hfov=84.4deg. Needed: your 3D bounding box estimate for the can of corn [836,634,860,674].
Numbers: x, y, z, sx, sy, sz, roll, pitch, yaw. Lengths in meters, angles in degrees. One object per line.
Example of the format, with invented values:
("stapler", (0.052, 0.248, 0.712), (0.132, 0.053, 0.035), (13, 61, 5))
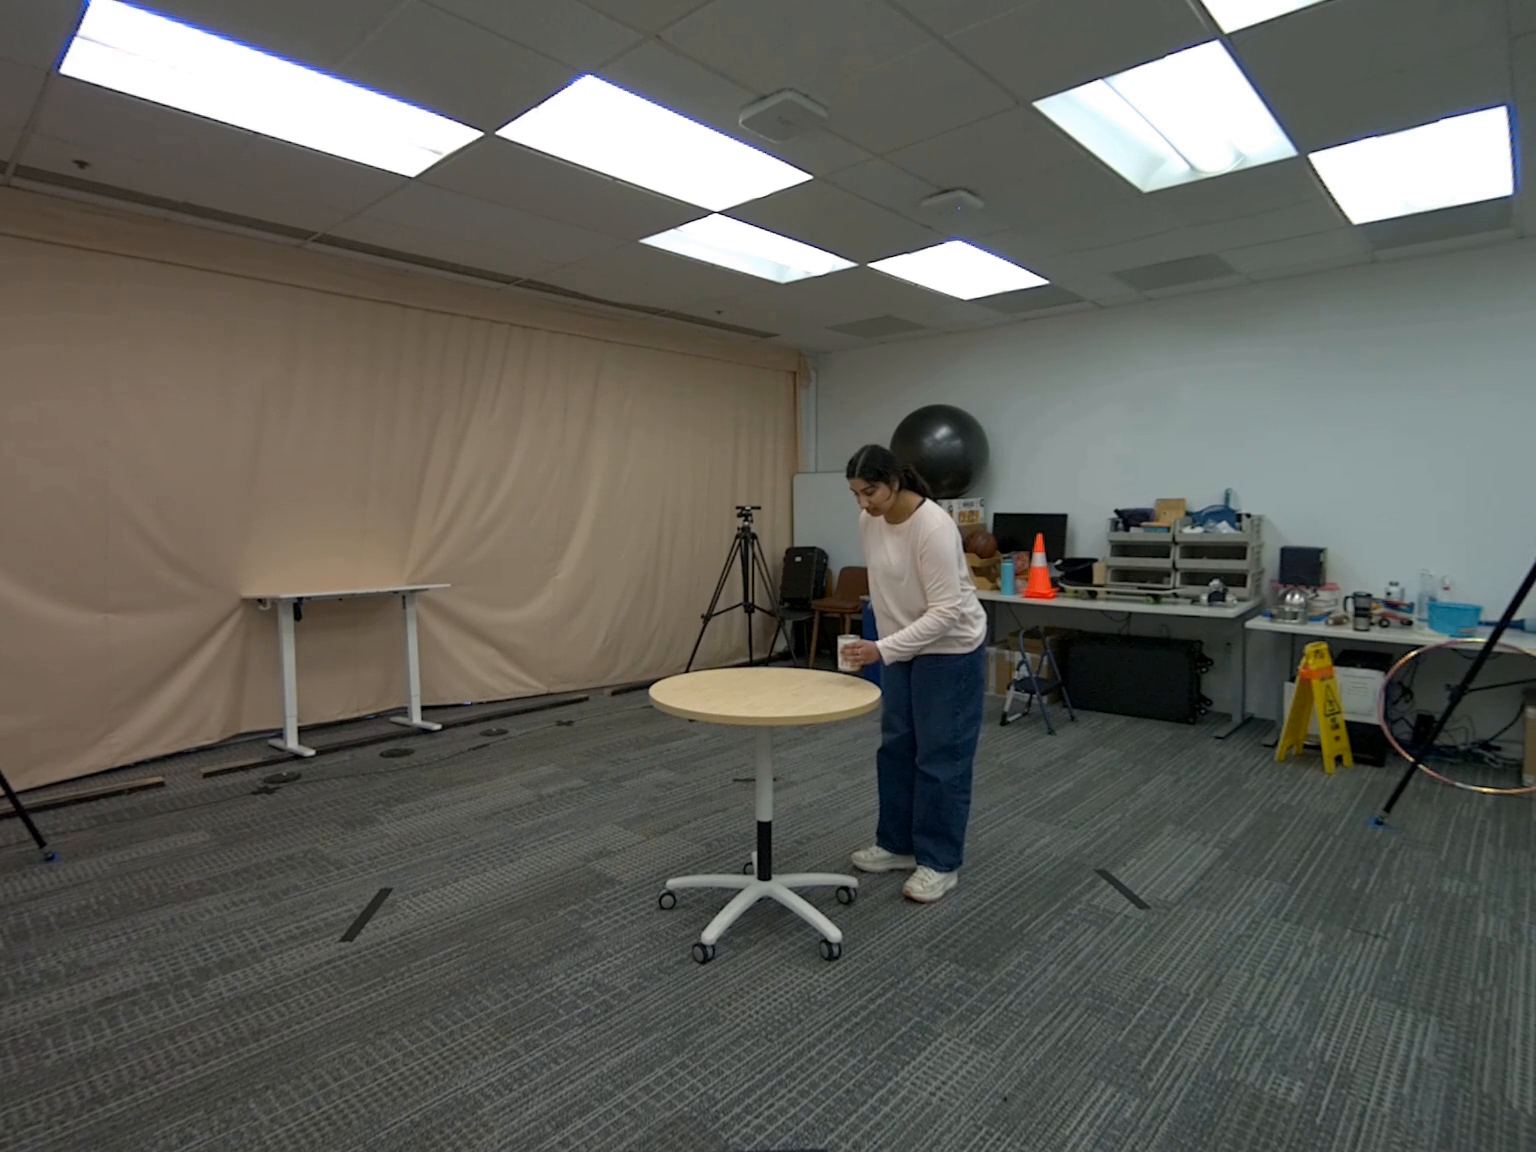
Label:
("can of corn", (0.282, 0.259, 2.853), (0.074, 0.111, 0.074), (0, 1, -2))
